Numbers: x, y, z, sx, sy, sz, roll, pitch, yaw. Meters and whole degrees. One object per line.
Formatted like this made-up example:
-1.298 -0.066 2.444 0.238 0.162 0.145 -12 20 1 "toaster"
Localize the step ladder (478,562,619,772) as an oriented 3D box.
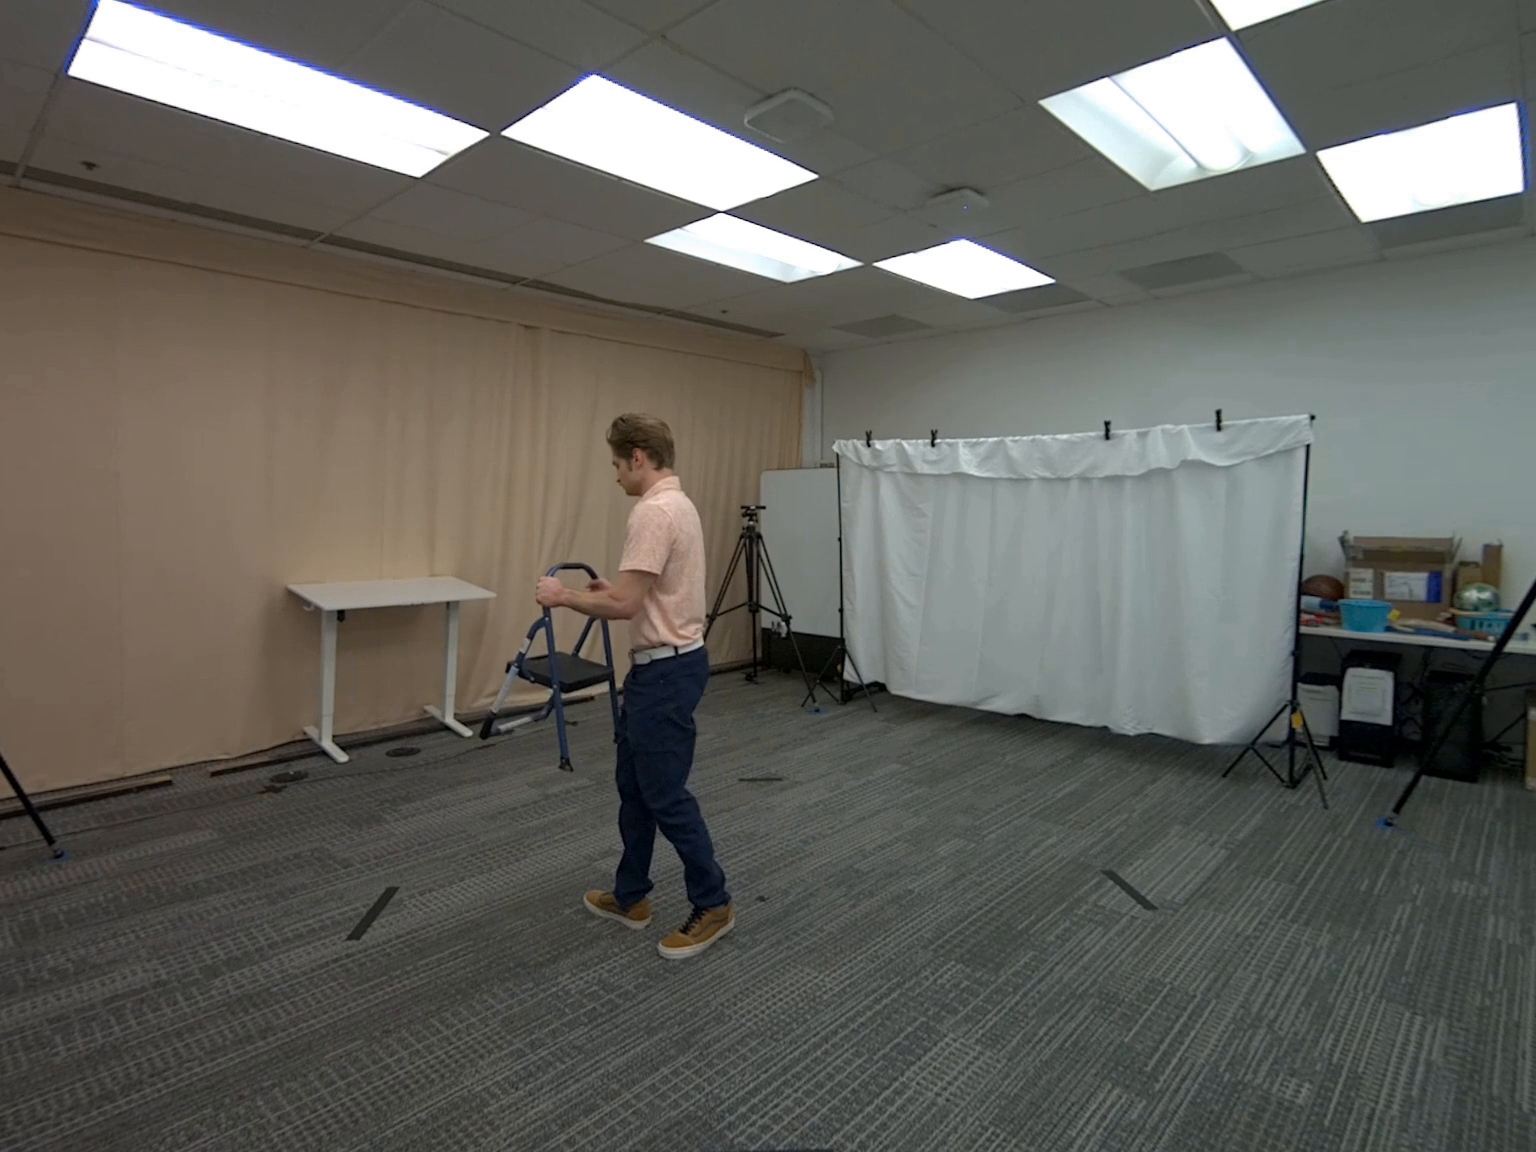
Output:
-0.658 0.273 2.849 0.356 0.605 0.422 13 2 16 "step ladder"
